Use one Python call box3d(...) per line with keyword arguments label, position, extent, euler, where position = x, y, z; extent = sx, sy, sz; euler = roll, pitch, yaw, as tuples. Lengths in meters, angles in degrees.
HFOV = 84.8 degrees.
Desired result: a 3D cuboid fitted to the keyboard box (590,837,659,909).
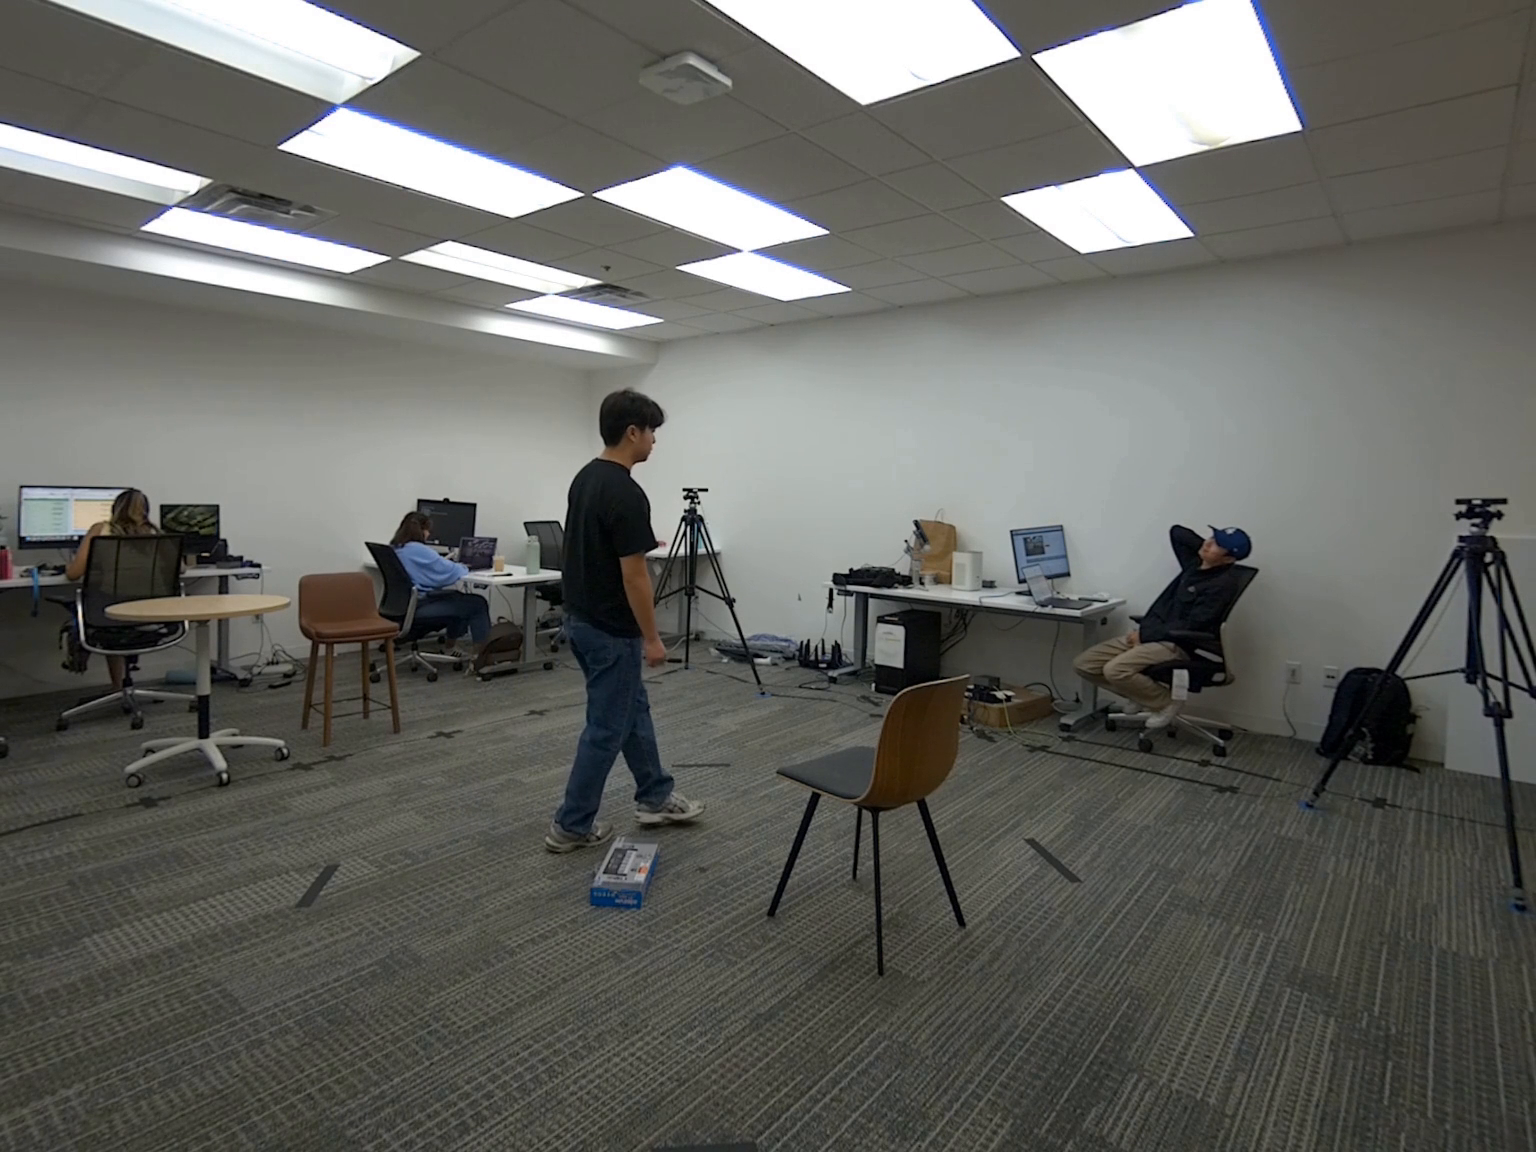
box3d(label="keyboard box", position=(-0.509, 1.044, 3.029), extent=(0.177, 0.059, 0.437), euler=(1, 6, 2))
